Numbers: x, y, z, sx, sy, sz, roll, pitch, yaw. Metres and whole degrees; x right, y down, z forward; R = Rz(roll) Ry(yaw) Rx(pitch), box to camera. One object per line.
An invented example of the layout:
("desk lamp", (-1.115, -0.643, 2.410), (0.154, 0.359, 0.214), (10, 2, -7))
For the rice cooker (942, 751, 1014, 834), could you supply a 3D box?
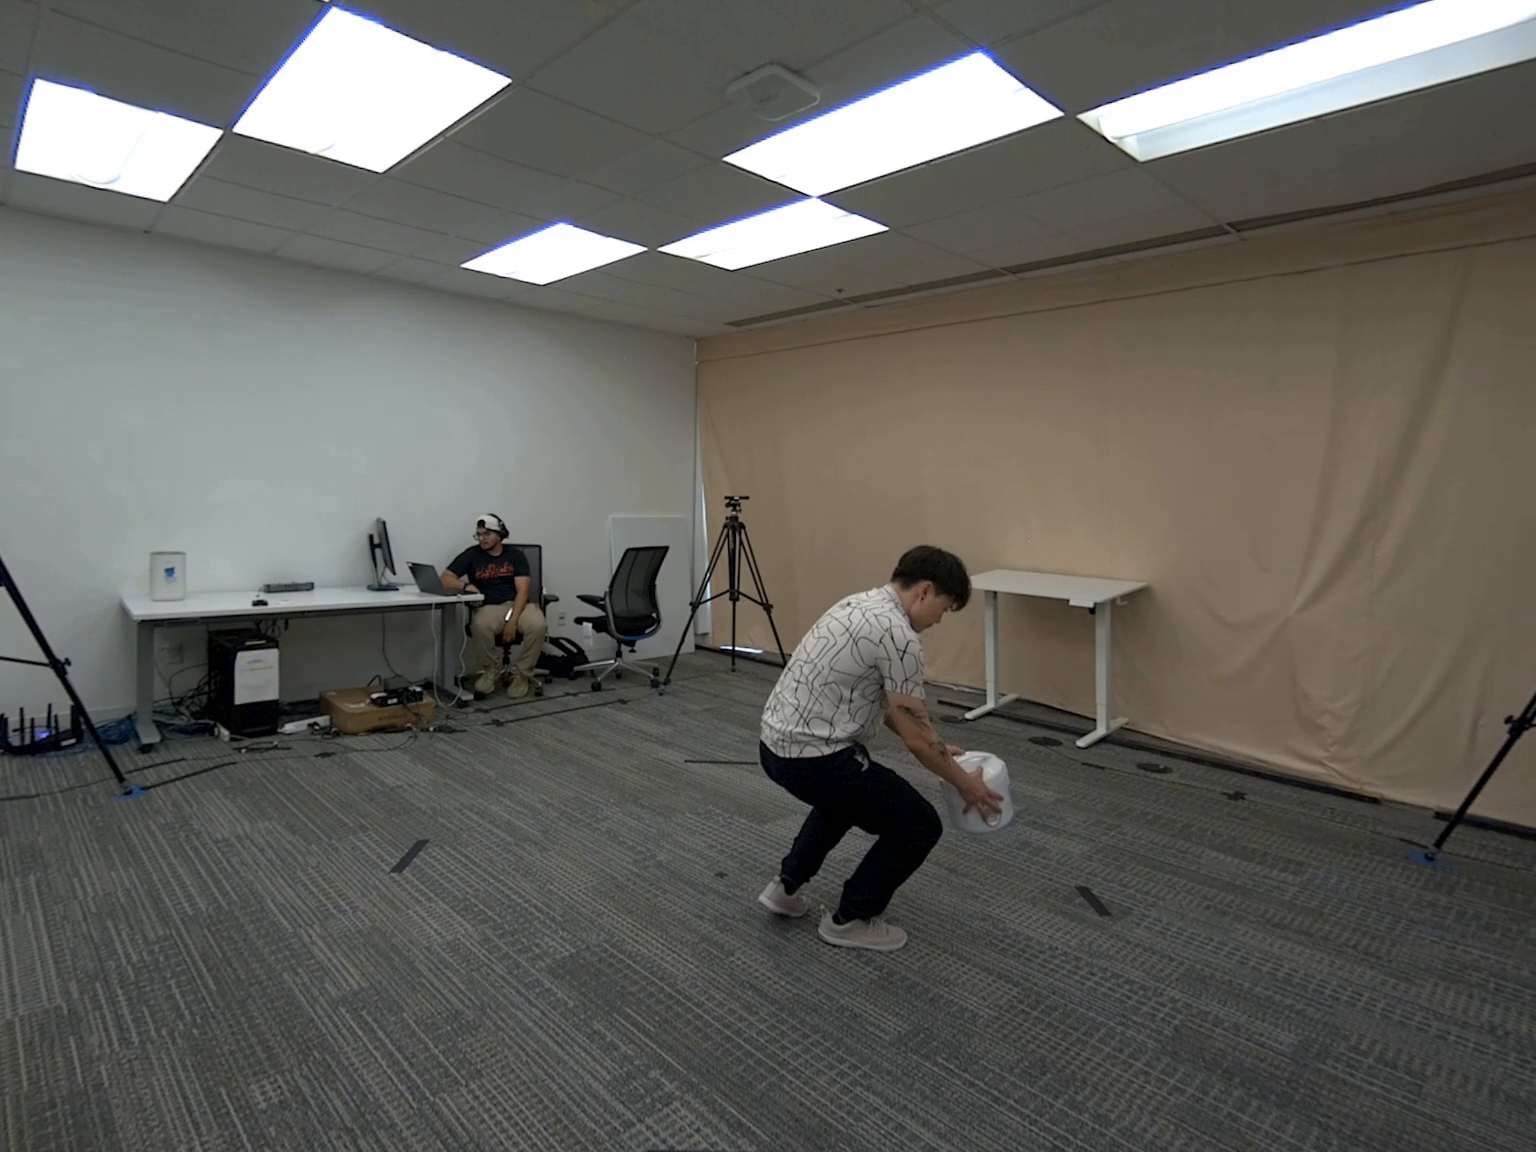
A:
("rice cooker", (0.656, 0.679, 2.701), (0.220, 0.231, 0.219), (-15, 7, -6))
